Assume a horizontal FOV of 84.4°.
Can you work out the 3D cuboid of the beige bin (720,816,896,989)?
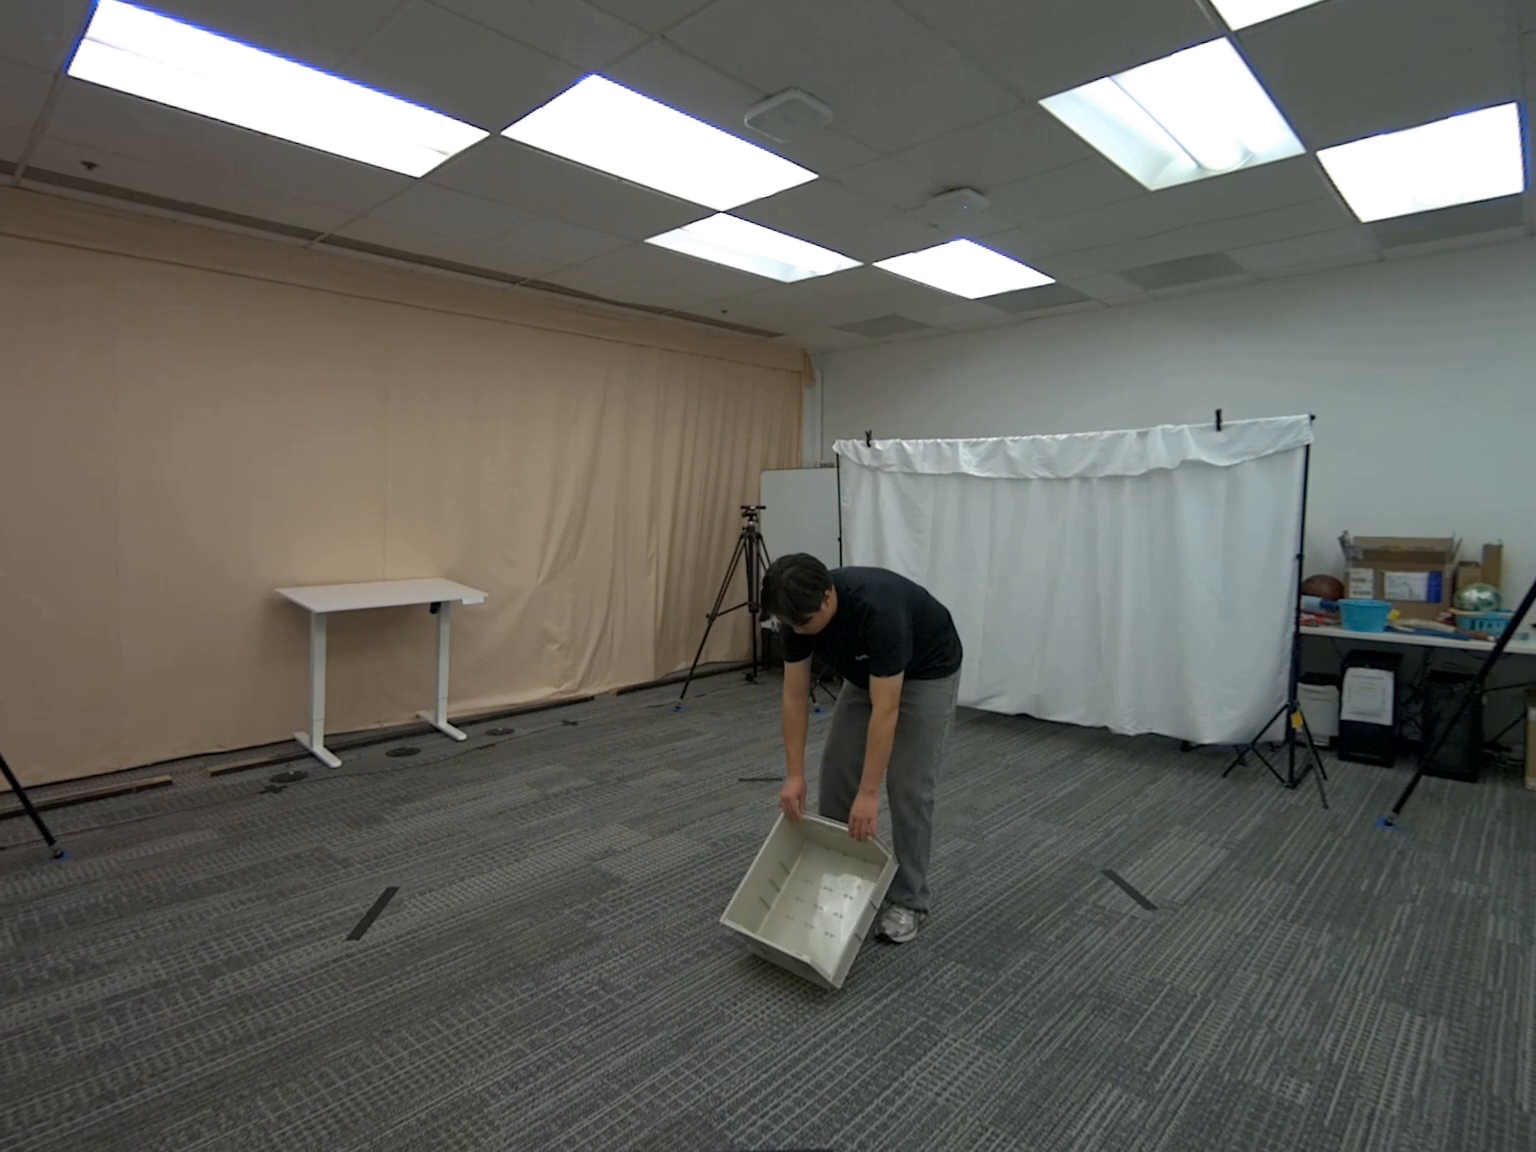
[{"bbox_3d":[0.138,0.978,2.576,0.390,0.183,0.421,2,45,43],"label":"beige bin"}]
